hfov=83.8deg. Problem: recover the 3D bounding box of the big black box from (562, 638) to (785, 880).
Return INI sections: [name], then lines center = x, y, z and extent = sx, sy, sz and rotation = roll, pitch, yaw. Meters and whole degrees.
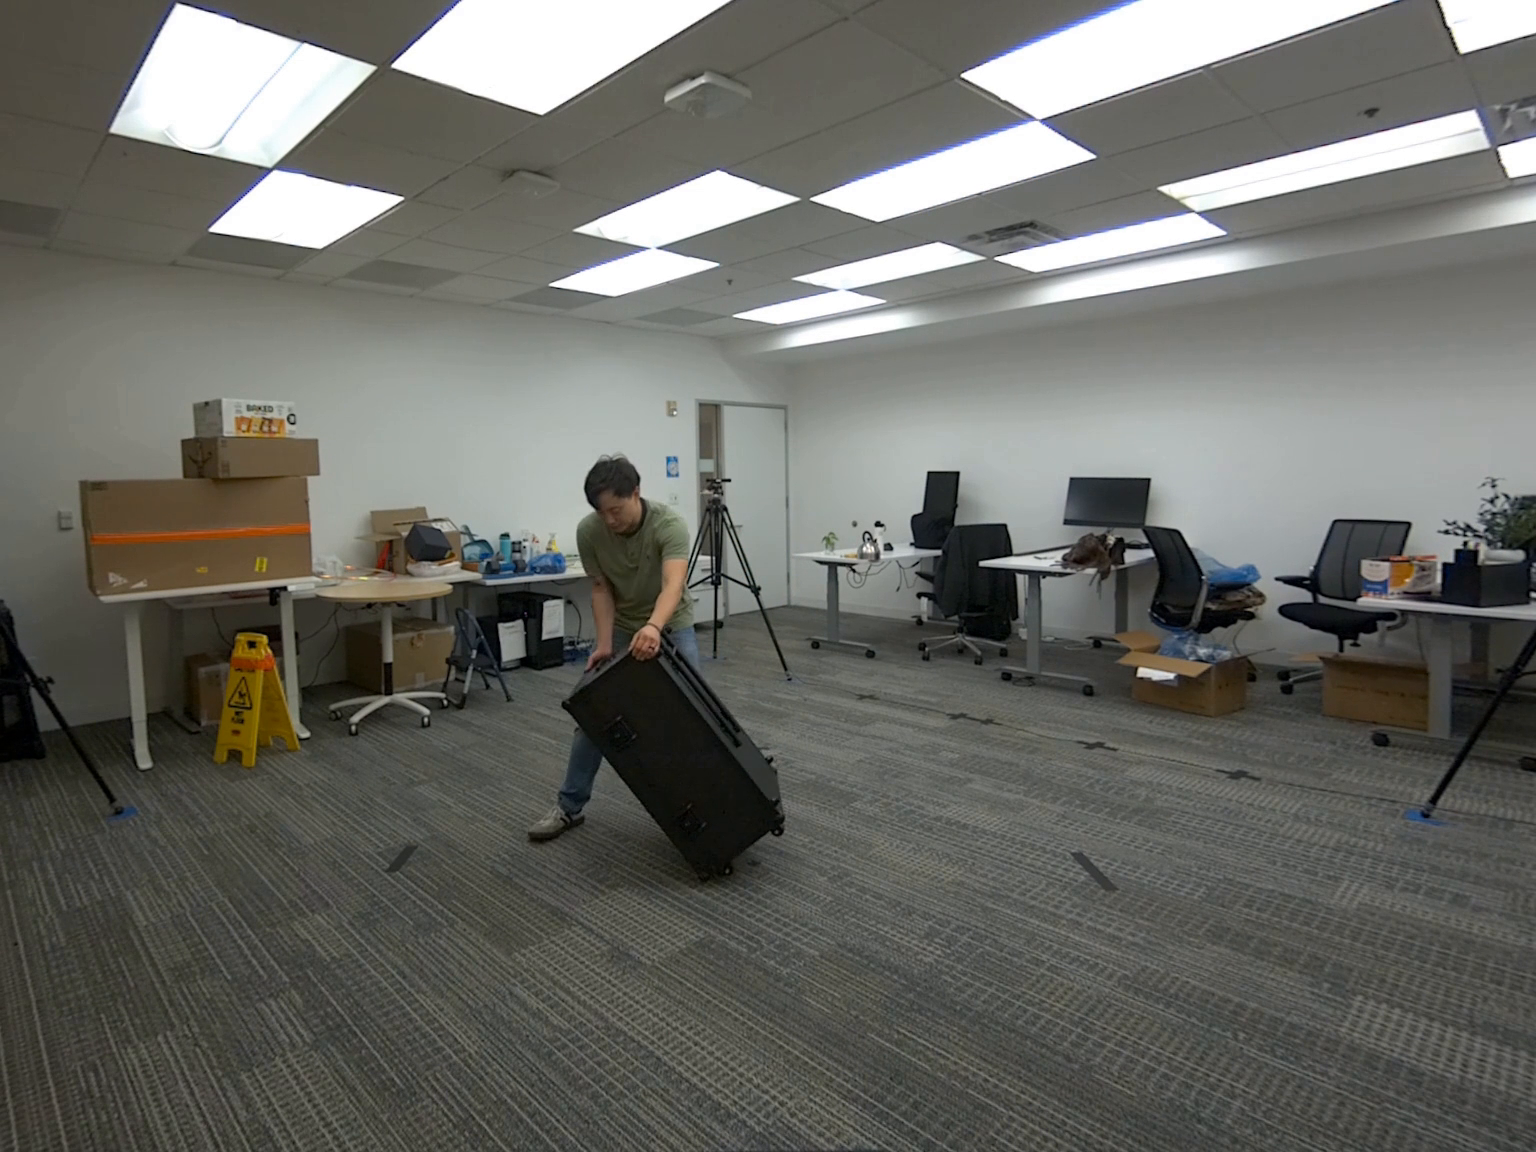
[big black box]
center = -0.294, 0.629, 3.133
extent = 0.396, 0.859, 0.522
rotation = -37, 3, 2
